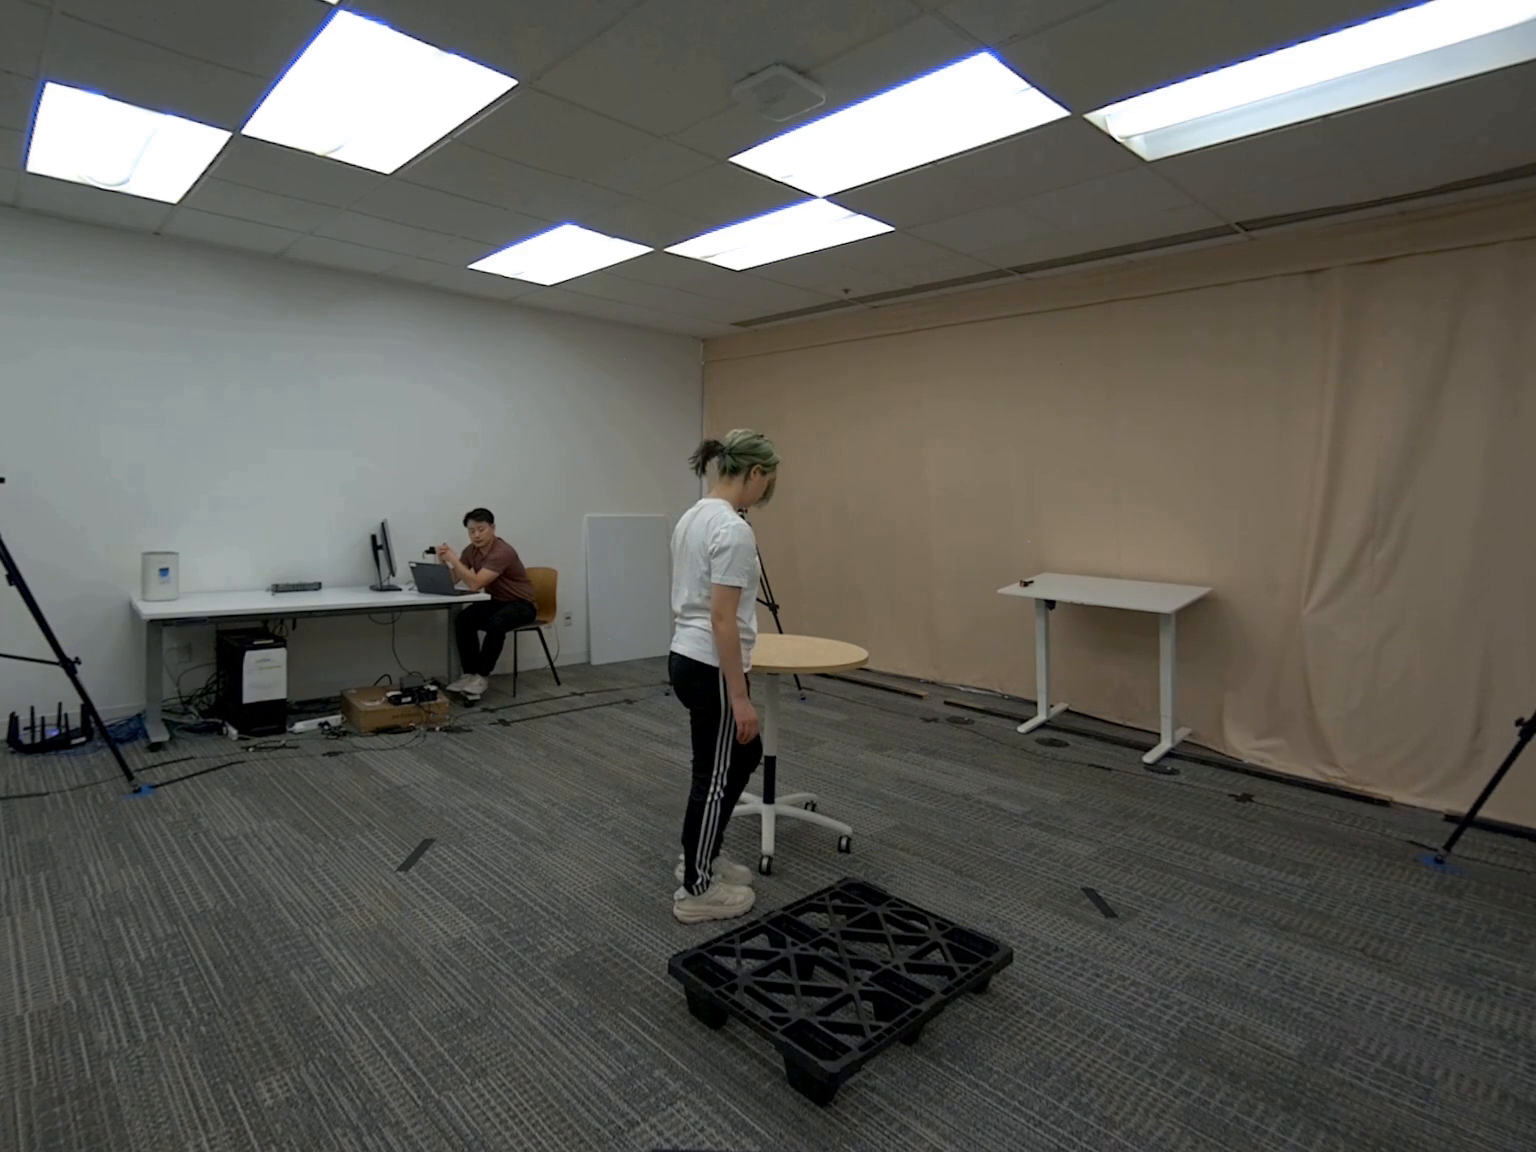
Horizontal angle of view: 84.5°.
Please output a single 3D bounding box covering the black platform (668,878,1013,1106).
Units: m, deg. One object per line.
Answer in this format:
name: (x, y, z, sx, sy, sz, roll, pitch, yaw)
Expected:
black platform: (0.207, 1.117, 2.342, 0.787, 0.143, 0.621, -4, 8, -44)
